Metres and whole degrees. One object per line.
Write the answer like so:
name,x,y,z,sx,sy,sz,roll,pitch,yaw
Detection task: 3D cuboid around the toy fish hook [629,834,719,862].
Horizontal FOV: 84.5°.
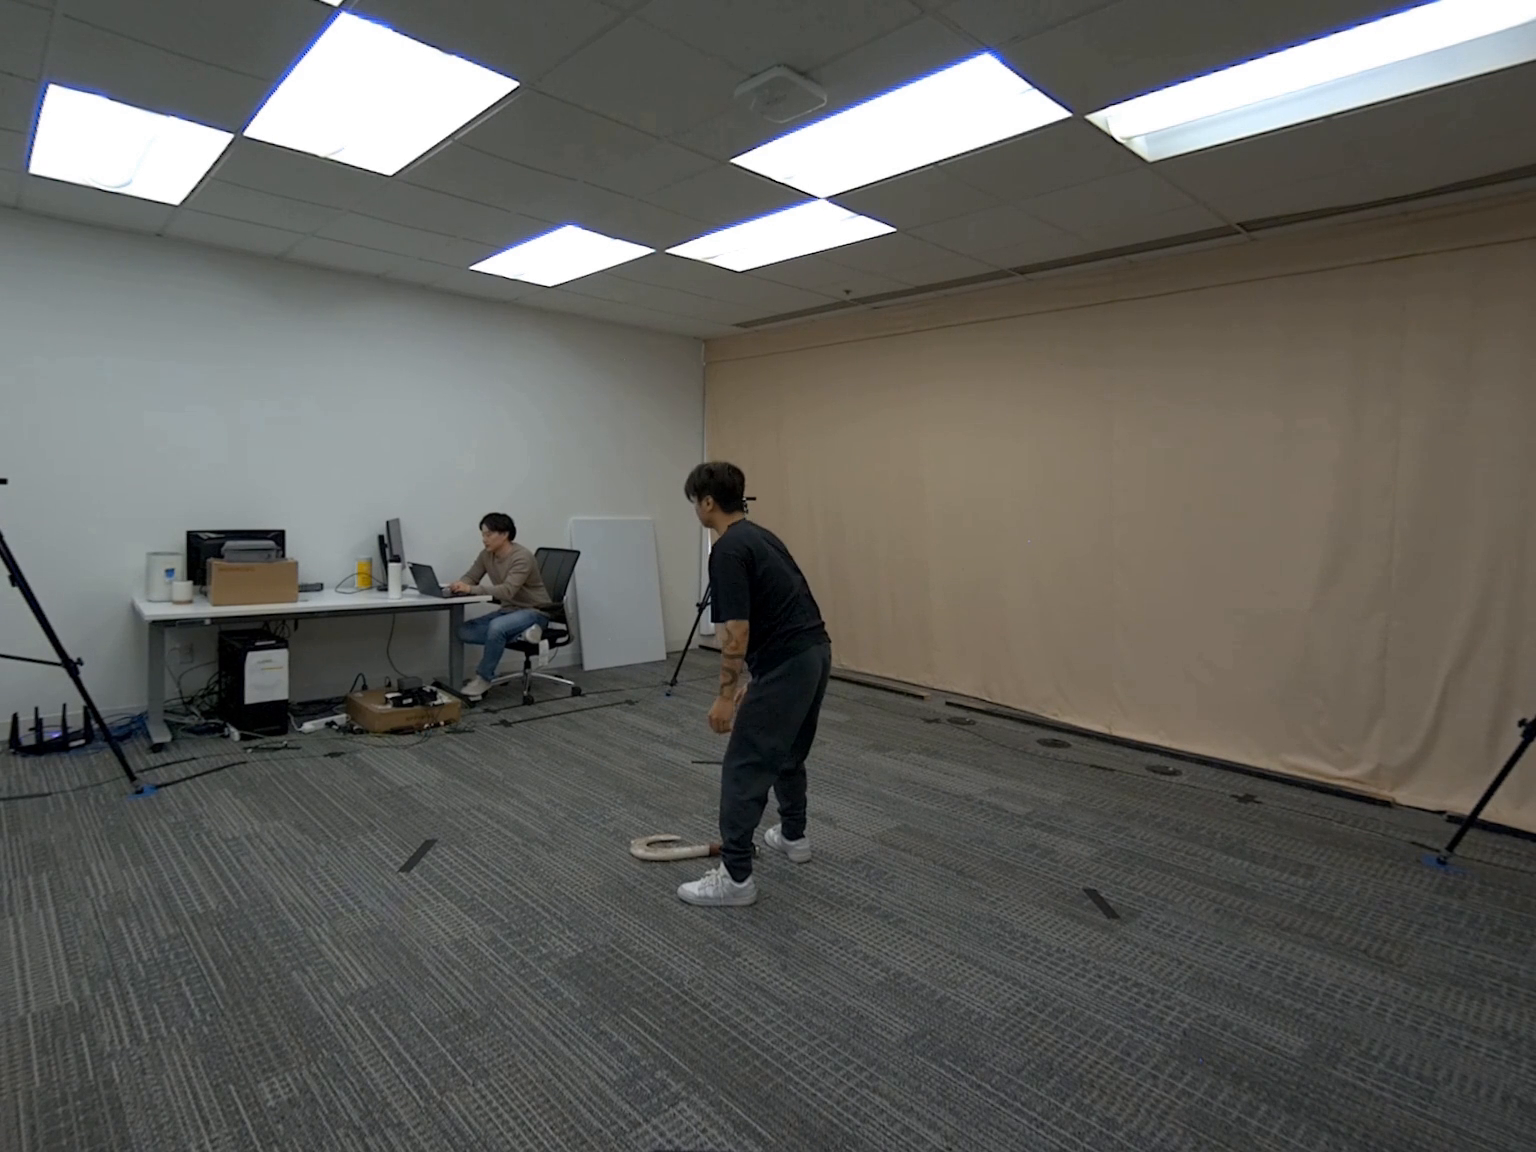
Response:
toy fish hook,-0.291,1.055,3.315,0.505,0.048,0.226,1,8,-3
